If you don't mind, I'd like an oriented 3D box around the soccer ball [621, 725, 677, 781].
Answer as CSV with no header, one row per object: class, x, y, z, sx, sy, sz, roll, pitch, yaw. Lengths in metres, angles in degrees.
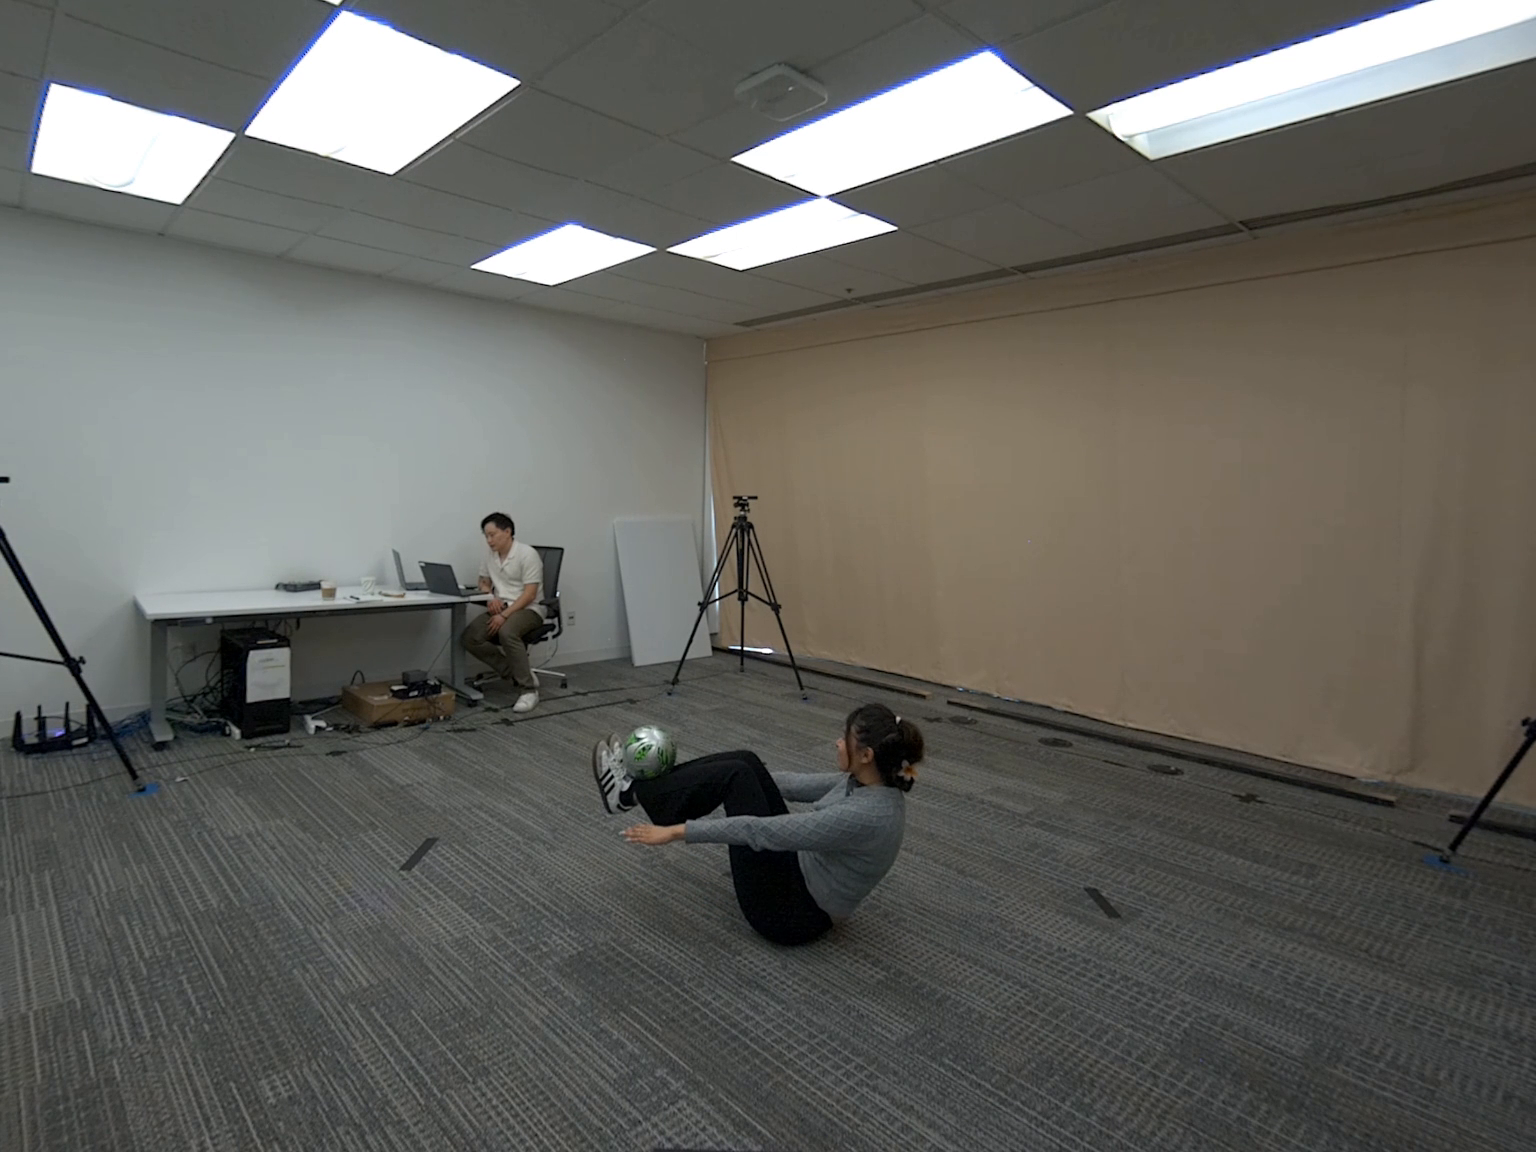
soccer ball,-0.423,0.616,2.894,0.187,0.187,0.188,1,4,-1
